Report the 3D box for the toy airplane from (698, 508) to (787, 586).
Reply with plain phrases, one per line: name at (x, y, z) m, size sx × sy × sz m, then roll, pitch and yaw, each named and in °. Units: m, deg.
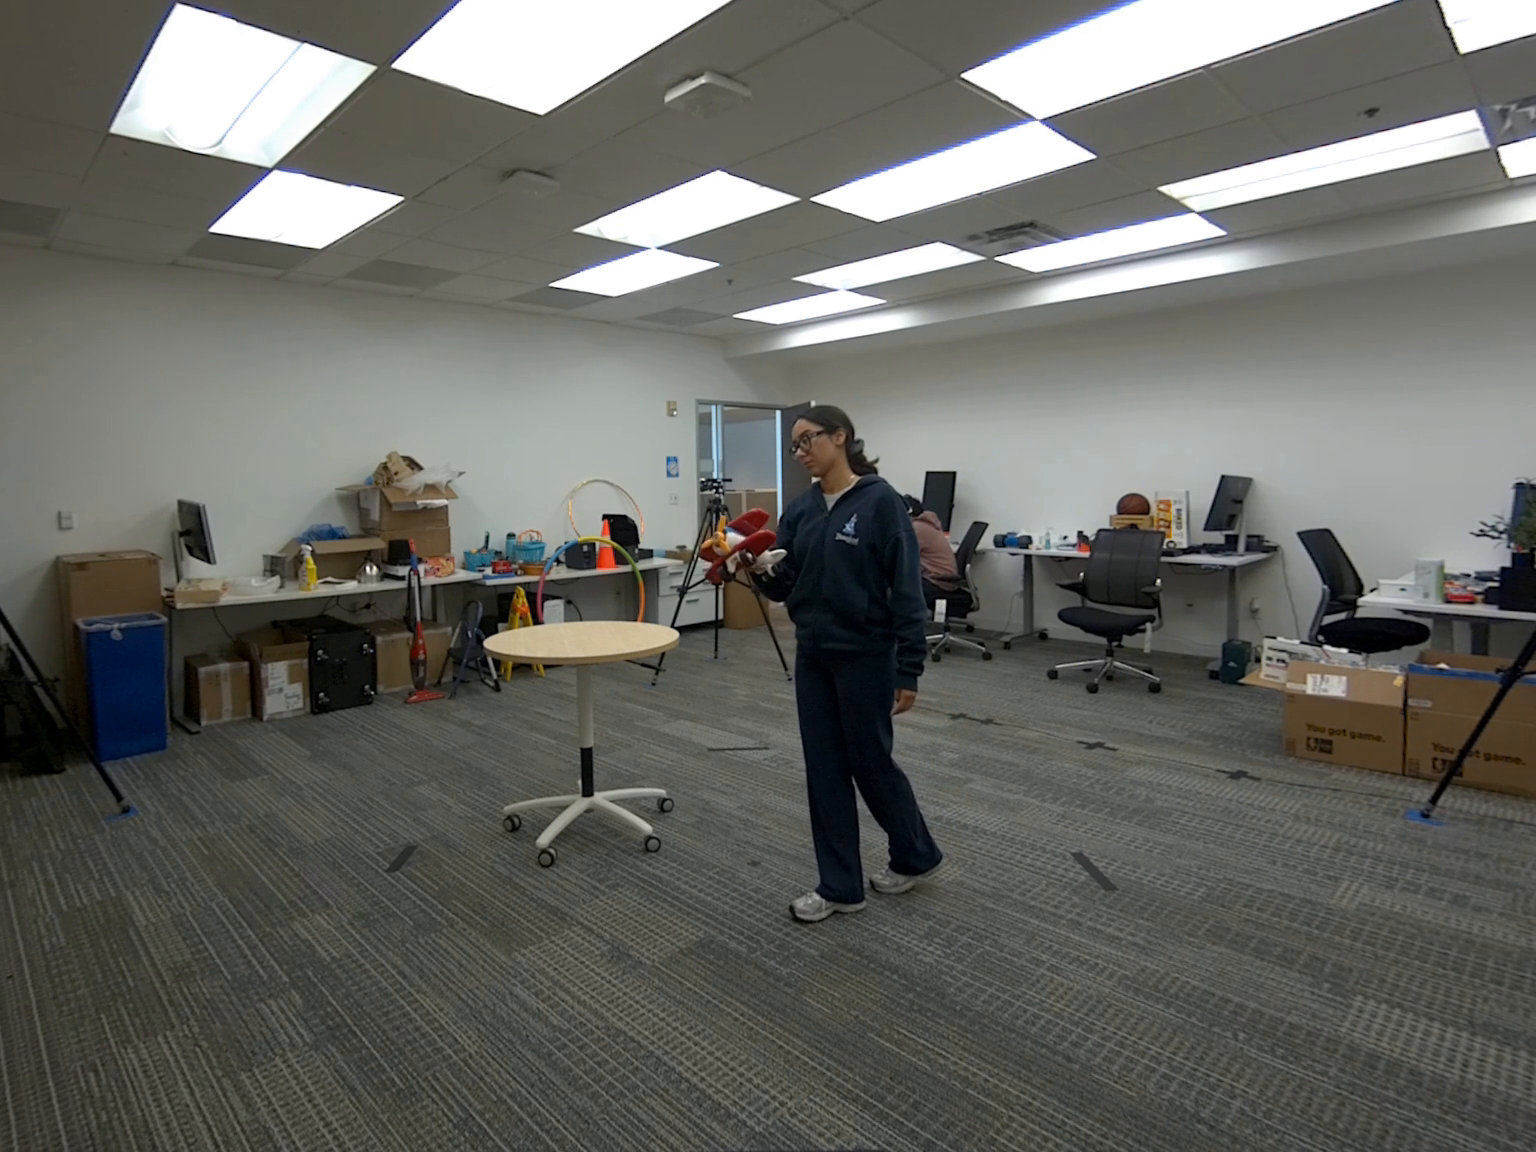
toy airplane at (-0.076, -0.058, 2.511) m, size 0.251 × 0.160 × 0.252 m, roll -27°, pitch -21°, yaw 1°
